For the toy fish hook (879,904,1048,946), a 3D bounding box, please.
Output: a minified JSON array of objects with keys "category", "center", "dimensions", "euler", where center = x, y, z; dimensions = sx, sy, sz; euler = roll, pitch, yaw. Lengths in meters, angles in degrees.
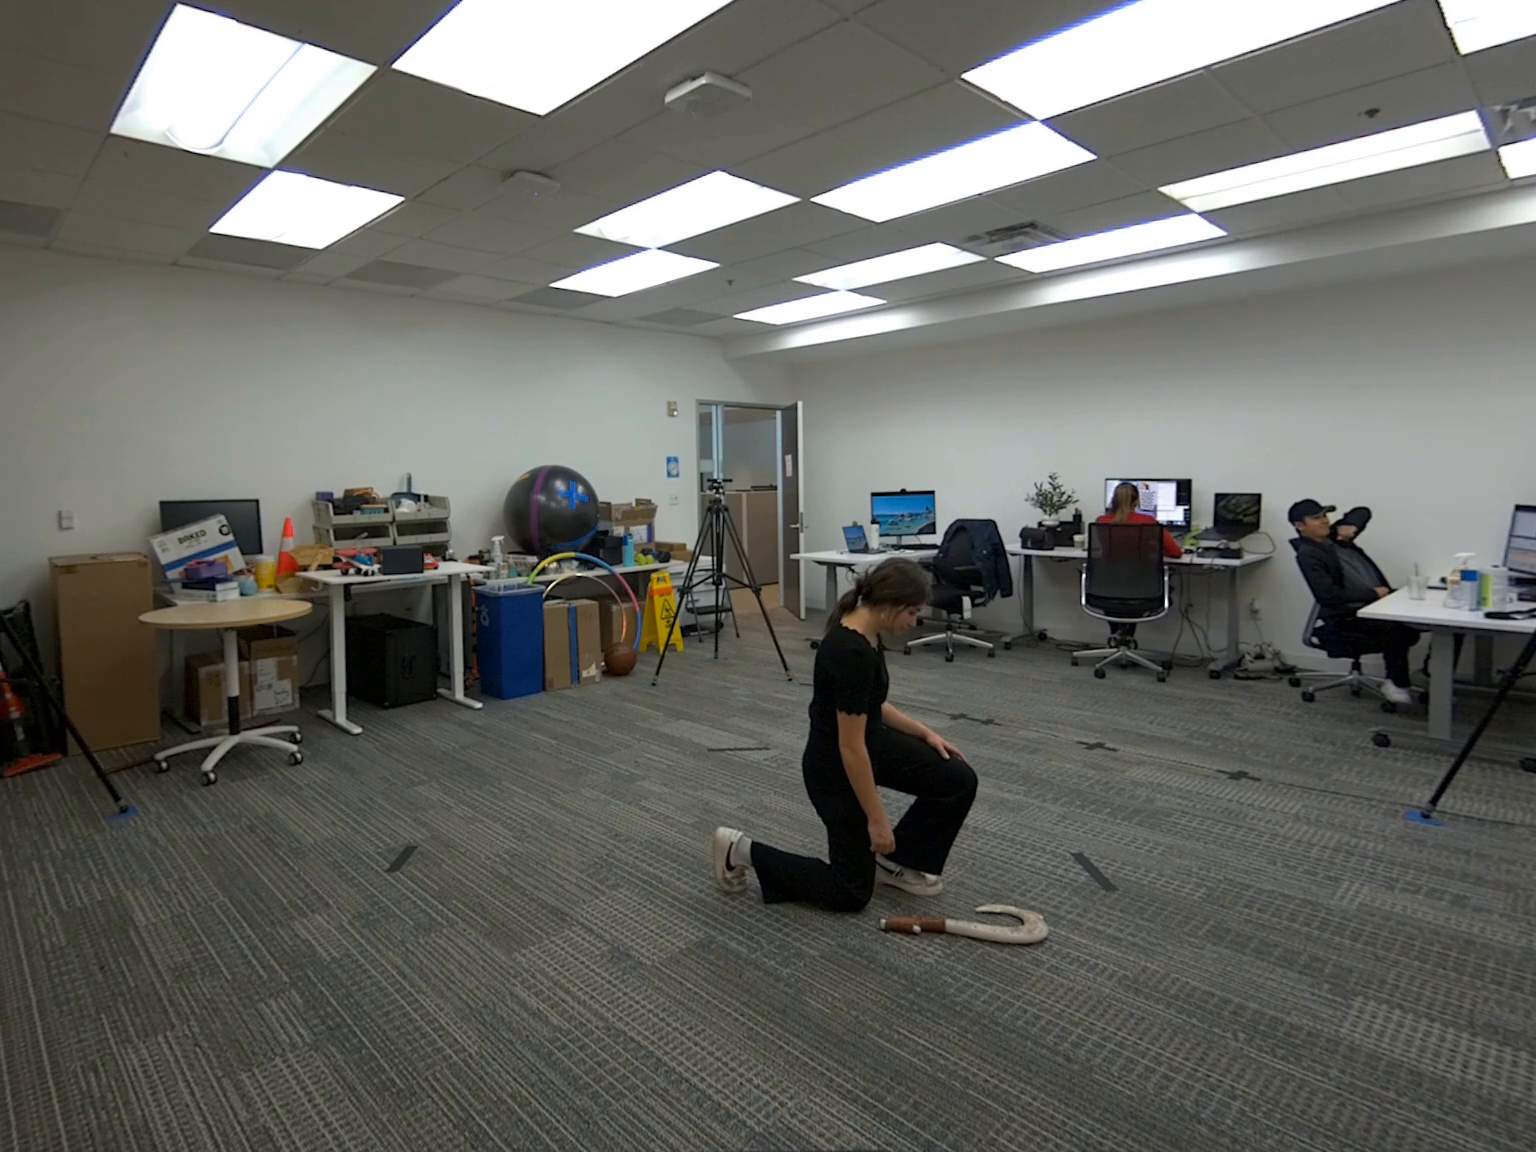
[{"category":"toy fish hook","center":[0.591,1.061,2.654],"dimensions":[0.510,0.048,0.223],"euler":[0,0,7]}]
